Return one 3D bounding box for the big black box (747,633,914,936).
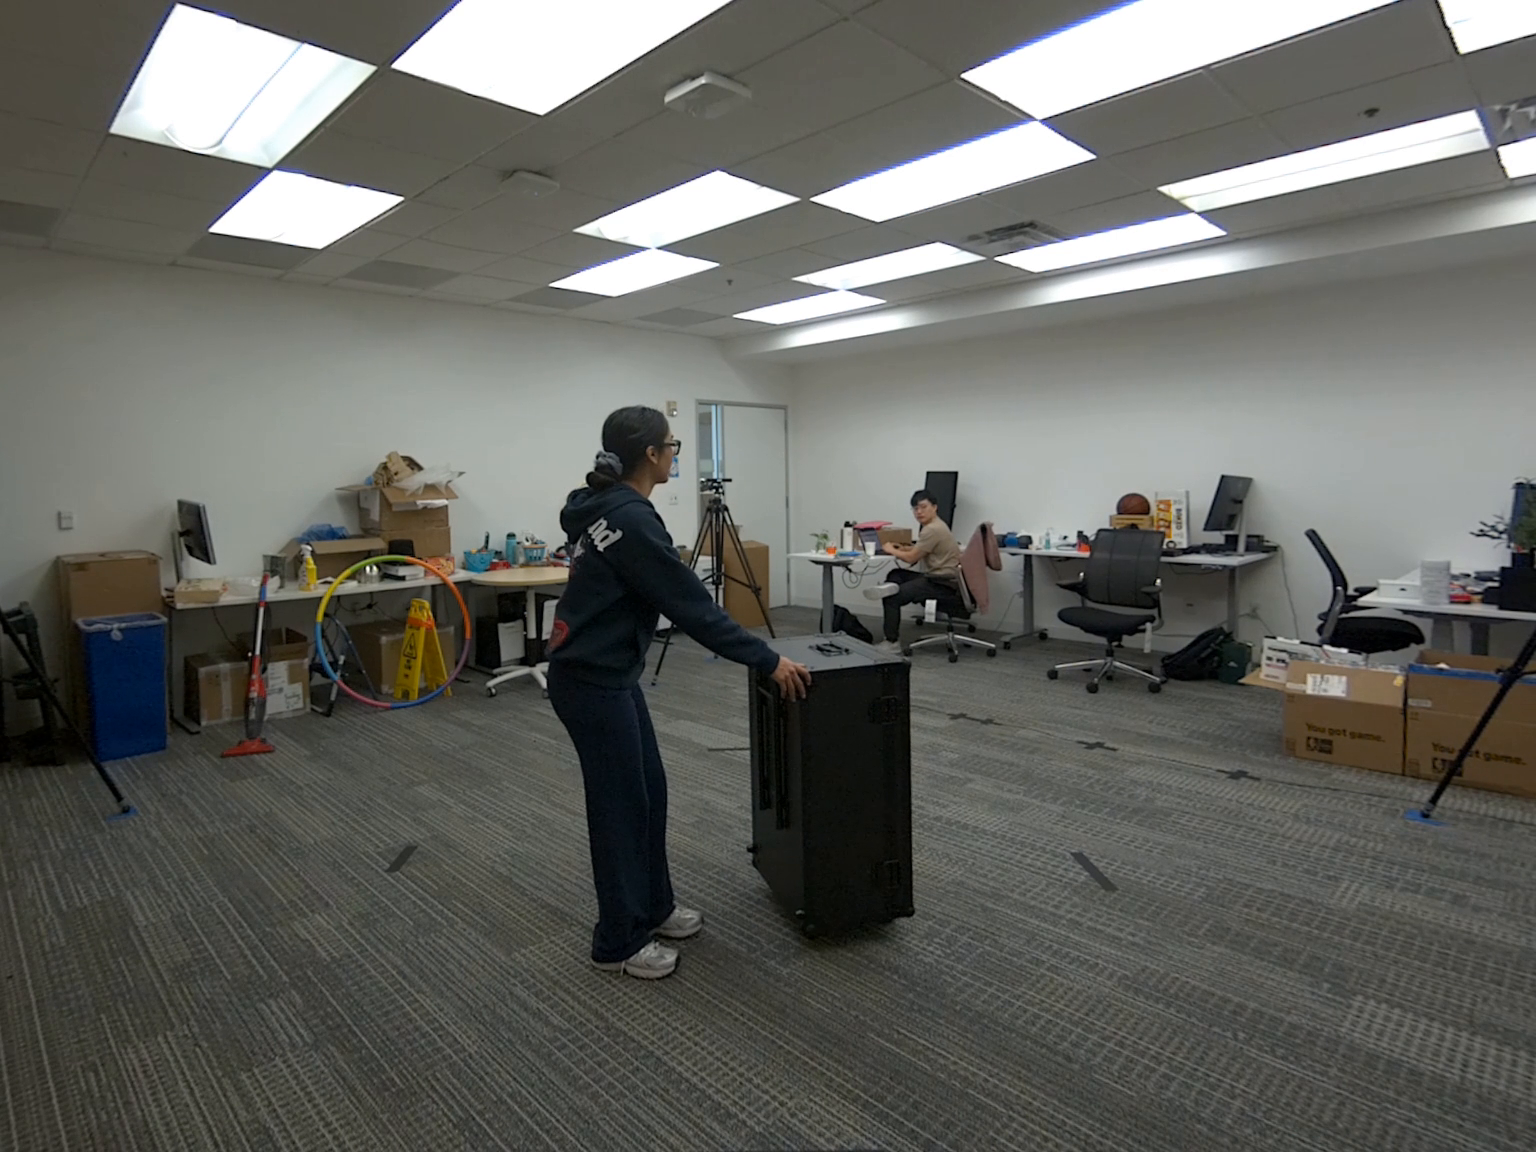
[{"bbox_3d":[0.183,0.661,2.724,0.390,0.857,0.532,-4,6,-18],"label":"big black box"}]
